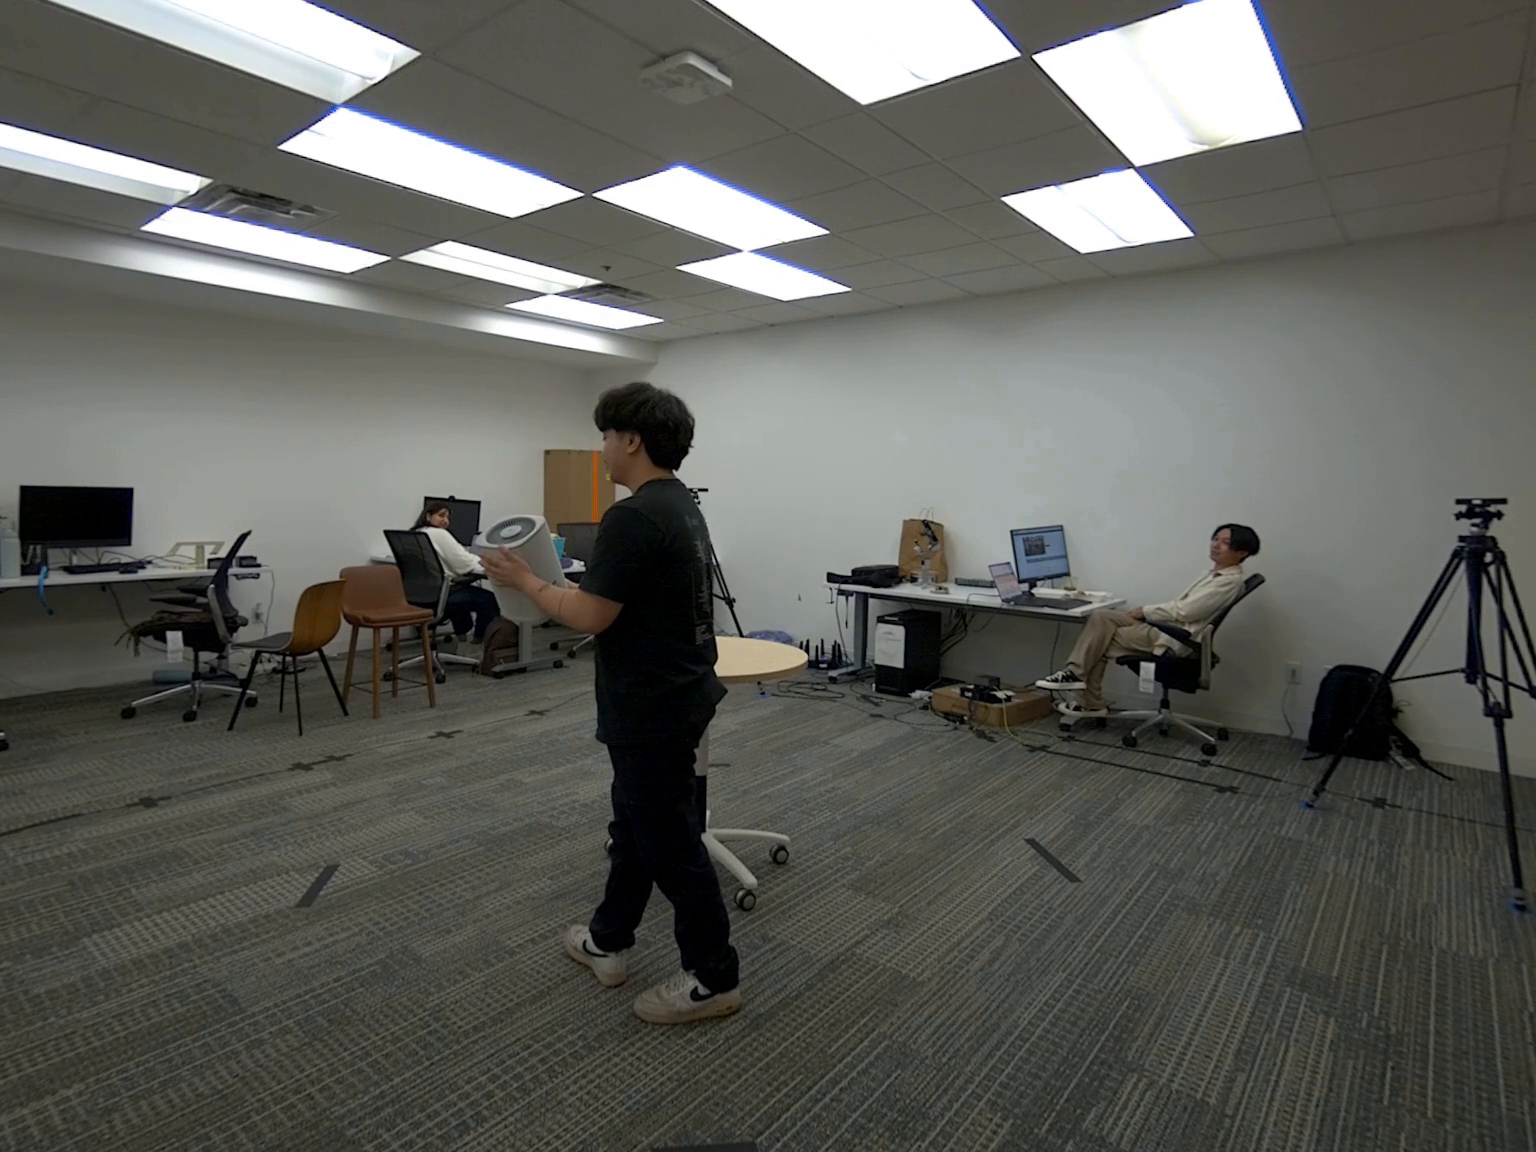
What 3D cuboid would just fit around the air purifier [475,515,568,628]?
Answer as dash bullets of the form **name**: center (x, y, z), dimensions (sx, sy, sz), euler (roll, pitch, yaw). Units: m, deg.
- **air purifier**: center (-0.691, -0.020, 2.397), dimensions (0.176, 0.257, 0.172), euler (4, 34, 24)
